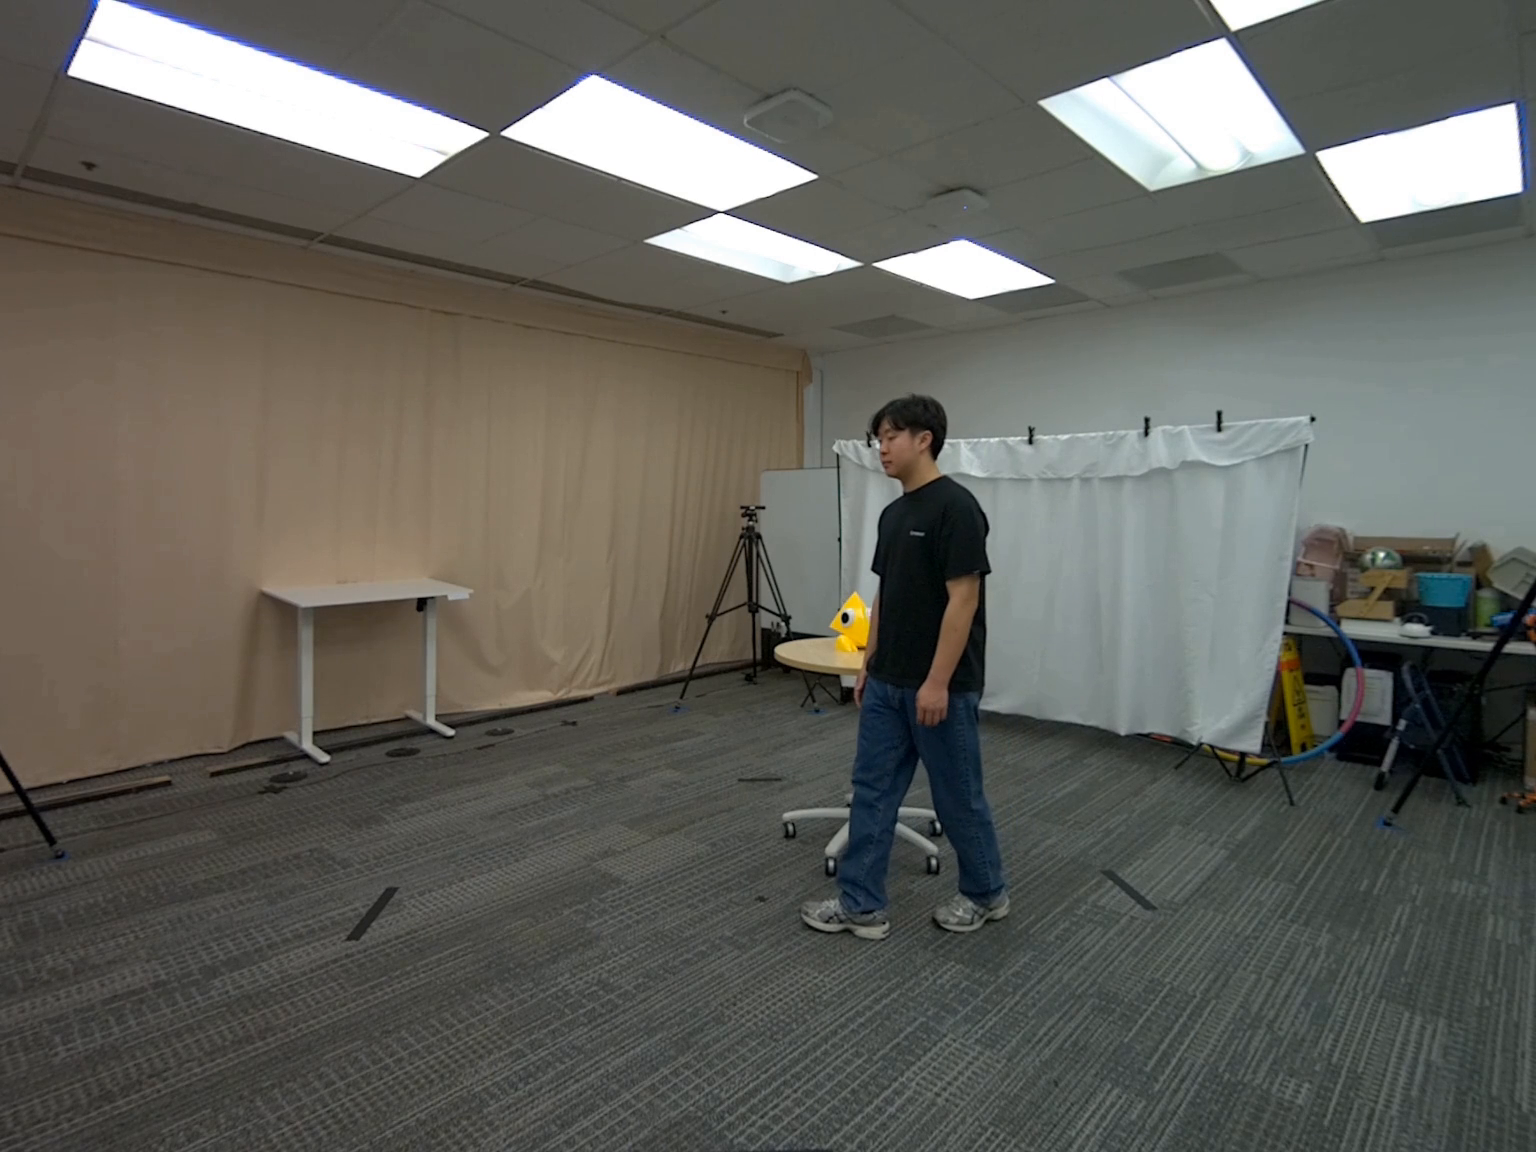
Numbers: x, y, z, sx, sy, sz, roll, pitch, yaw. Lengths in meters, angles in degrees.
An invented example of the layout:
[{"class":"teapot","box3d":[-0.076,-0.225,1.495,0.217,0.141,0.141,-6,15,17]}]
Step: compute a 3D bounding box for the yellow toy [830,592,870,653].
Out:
[{"class":"yellow toy","box3d":[0.384,0.187,3.518,0.203,0.230,0.195,0,3,-11]}]
